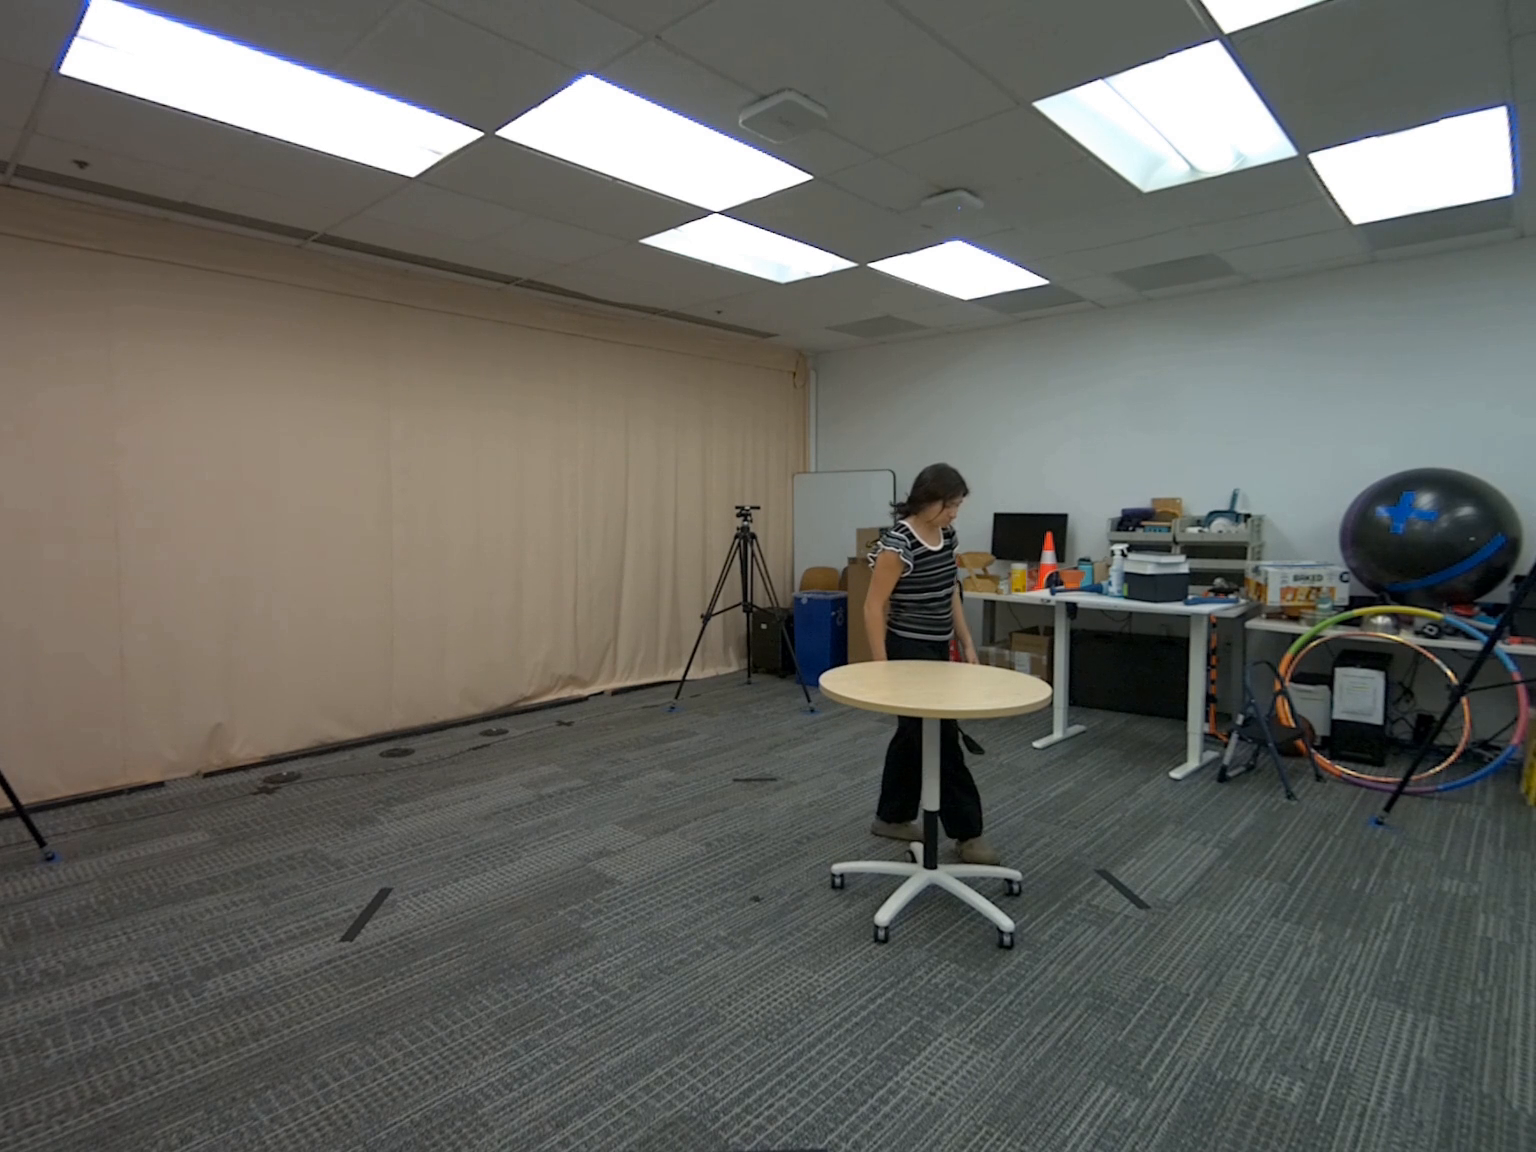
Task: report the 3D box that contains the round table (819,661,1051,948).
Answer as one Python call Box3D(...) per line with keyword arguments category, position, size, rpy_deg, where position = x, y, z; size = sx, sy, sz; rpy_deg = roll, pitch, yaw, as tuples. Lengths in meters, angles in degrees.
Box3D(category="round table", position=(0.560, 0.759, 2.907), size=(0.763, 0.792, 0.767), rpy_deg=(0, 4, -2))
